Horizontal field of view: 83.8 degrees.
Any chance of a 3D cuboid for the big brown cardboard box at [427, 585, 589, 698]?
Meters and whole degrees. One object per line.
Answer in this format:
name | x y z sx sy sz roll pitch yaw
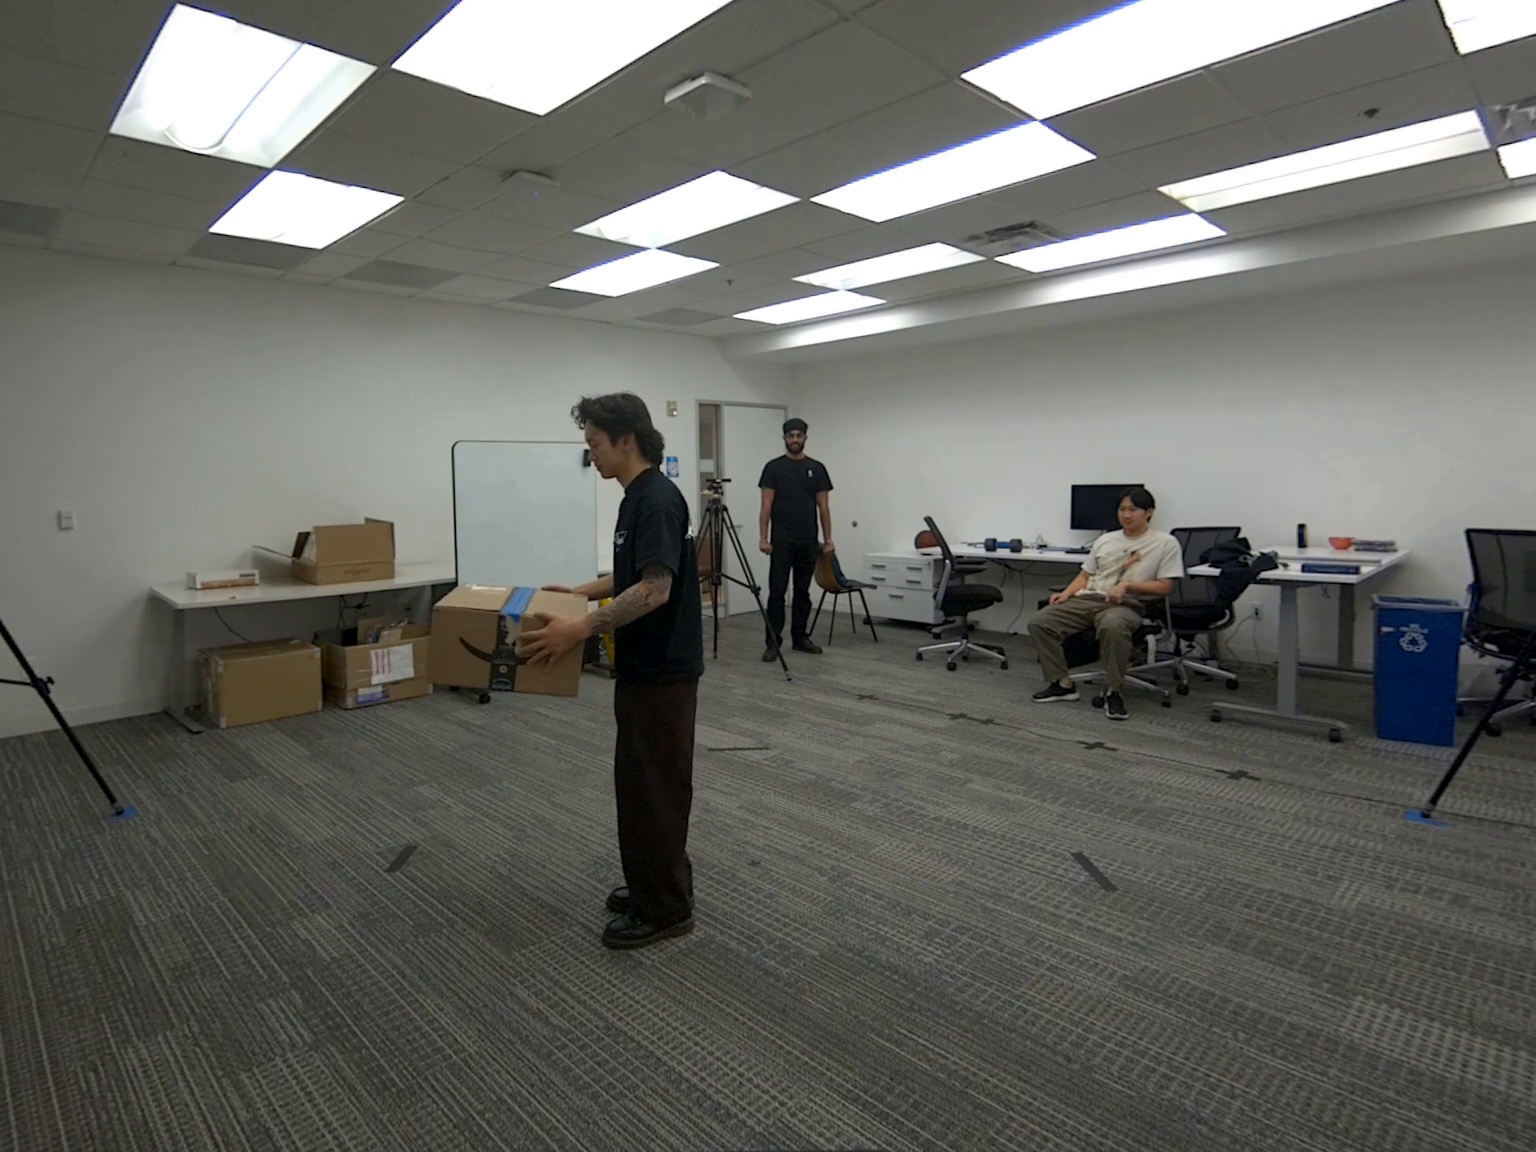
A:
big brown cardboard box | -0.760 0.176 2.612 0.413 0.232 0.597 6 5 -11
